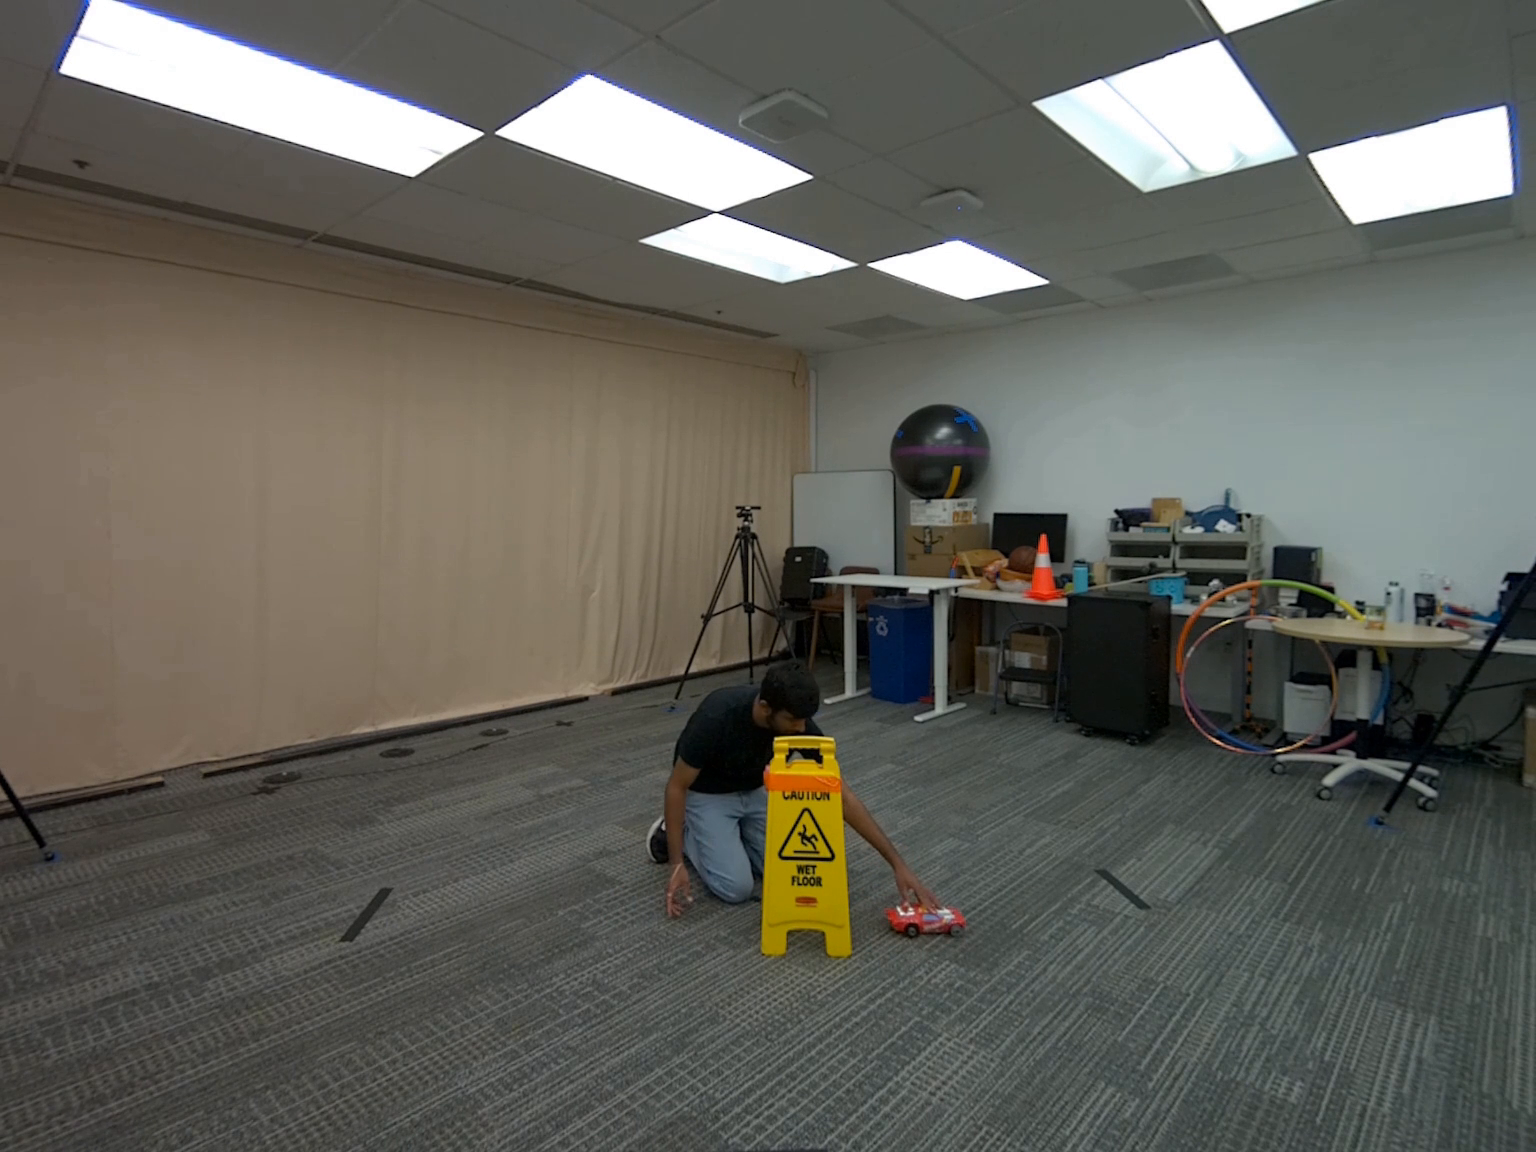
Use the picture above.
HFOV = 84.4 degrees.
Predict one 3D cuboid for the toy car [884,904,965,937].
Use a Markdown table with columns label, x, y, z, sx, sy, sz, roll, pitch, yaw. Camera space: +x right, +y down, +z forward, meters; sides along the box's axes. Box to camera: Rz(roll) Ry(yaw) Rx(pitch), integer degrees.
| label | x | y | z | sx | sy | sz | roll | pitch | yaw |
| --- | --- | --- | --- | --- | --- | --- | --- | --- | --- |
| toy car | 0.478 | 1.127 | 2.759 | 0.254 | 0.083 | 0.131 | 10 | 3 | -3 |
